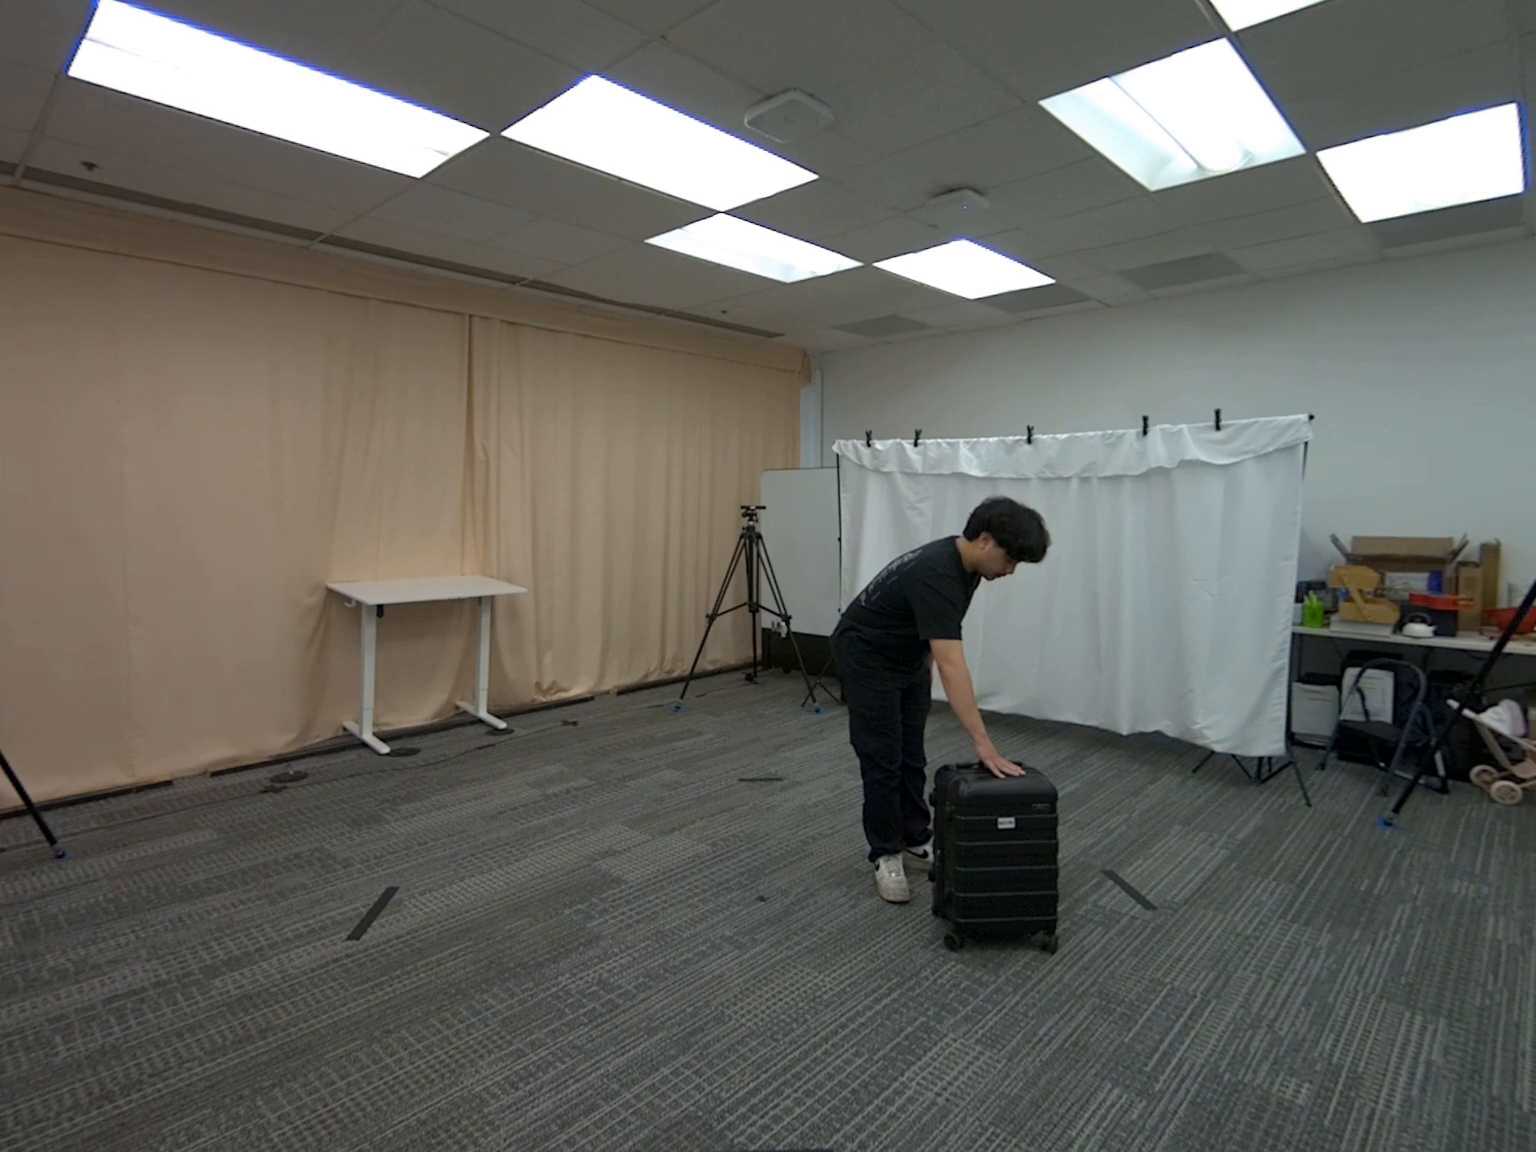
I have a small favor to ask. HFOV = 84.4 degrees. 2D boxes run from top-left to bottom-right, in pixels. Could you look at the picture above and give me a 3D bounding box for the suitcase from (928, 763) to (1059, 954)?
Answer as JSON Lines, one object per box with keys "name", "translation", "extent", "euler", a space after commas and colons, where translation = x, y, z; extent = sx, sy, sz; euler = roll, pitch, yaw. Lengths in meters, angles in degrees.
{"name": "suitcase", "translation": [0.749, 0.890, 2.728], "extent": [0.375, 0.548, 0.249], "euler": [1, 4, -2]}
